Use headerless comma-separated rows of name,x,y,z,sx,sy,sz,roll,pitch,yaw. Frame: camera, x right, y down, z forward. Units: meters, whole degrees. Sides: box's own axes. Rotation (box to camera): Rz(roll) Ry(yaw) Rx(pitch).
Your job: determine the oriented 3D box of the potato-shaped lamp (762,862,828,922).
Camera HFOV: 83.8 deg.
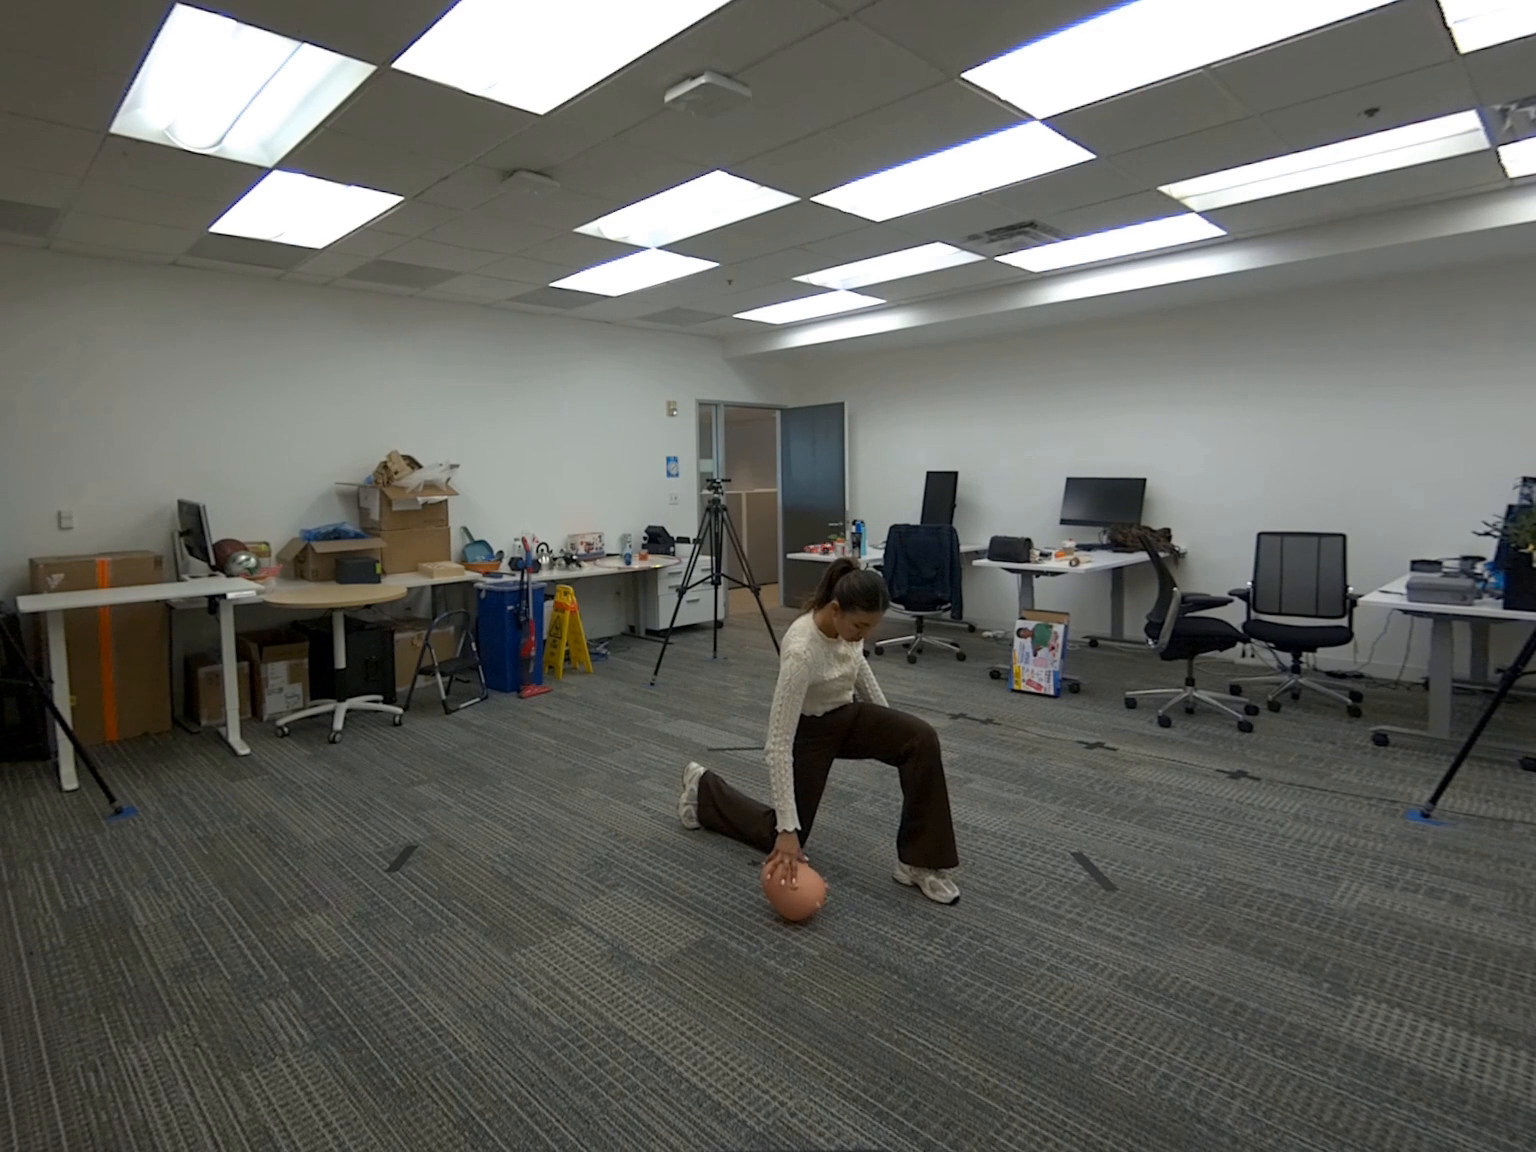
potato-shaped lamp,0.075,0.985,2.718,0.172,0.199,0.163,-40,-4,20
